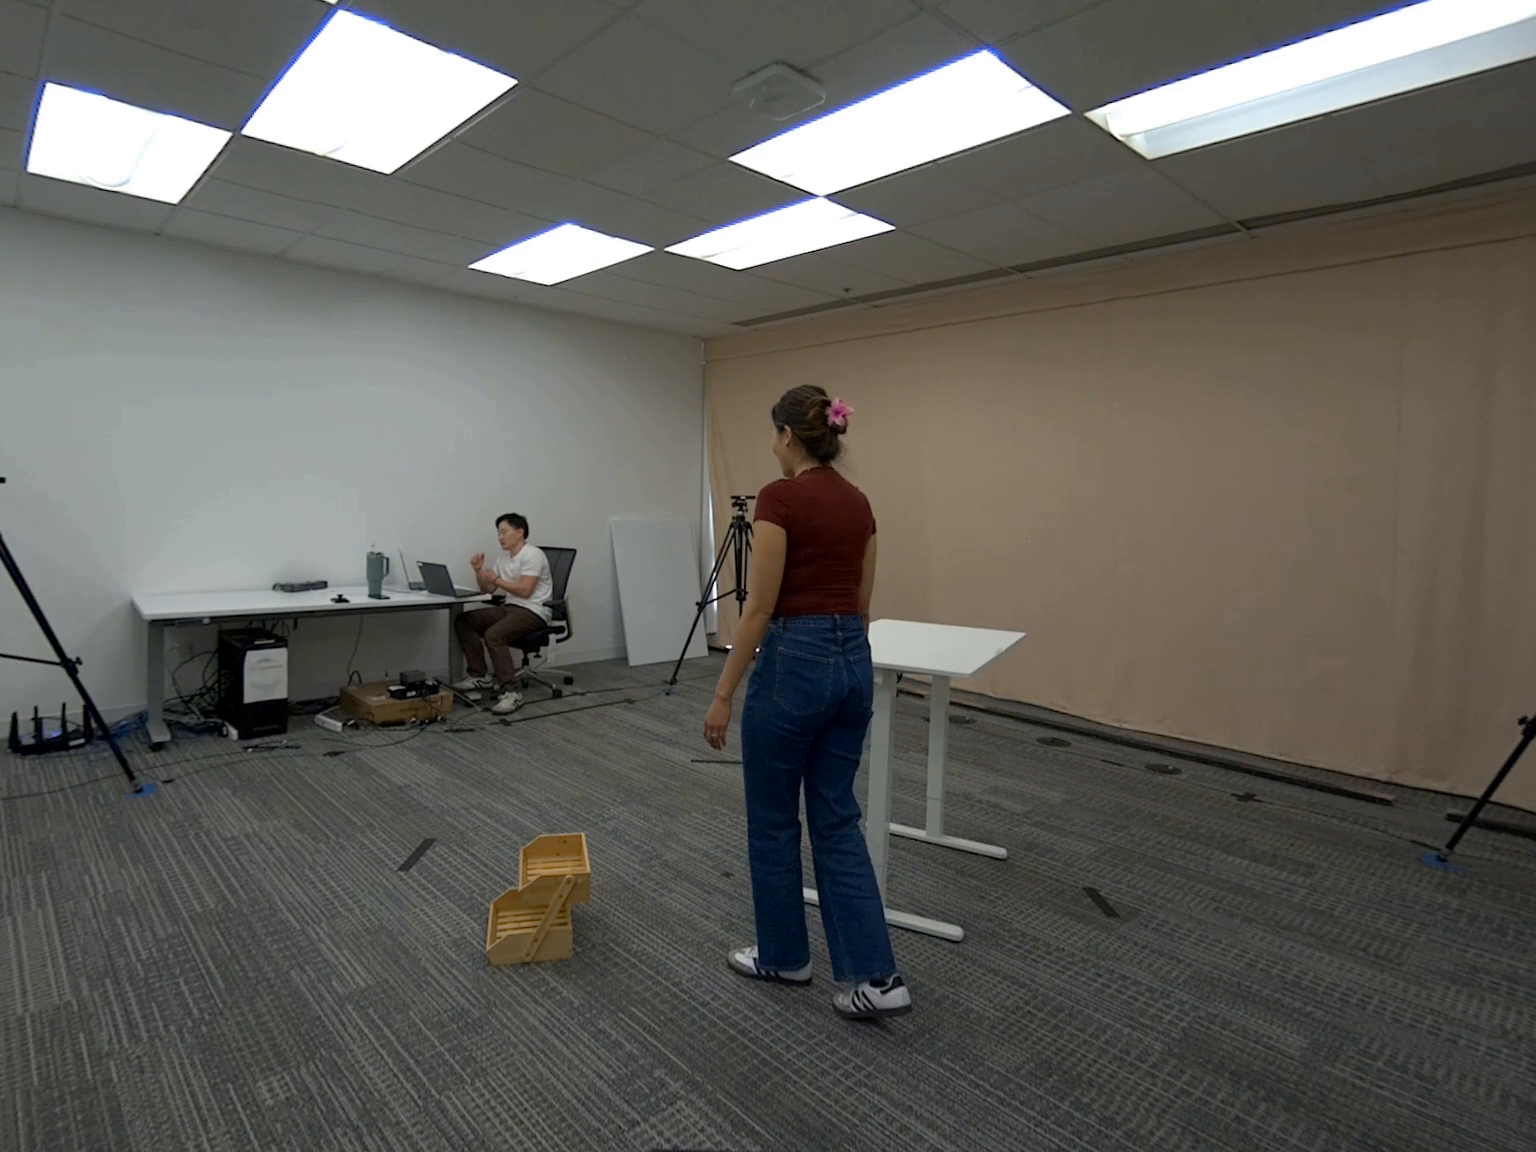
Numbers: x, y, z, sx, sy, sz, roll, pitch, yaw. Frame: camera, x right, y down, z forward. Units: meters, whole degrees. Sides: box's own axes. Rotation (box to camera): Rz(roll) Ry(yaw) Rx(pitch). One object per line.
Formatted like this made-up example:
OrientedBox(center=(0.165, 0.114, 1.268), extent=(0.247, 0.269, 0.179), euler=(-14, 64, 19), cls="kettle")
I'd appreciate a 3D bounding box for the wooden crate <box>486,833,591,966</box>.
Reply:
OrientedBox(center=(-0.731, 1.001, 2.630), extent=(0.298, 0.272, 0.329), euler=(0, 4, -15), cls="wooden crate")
